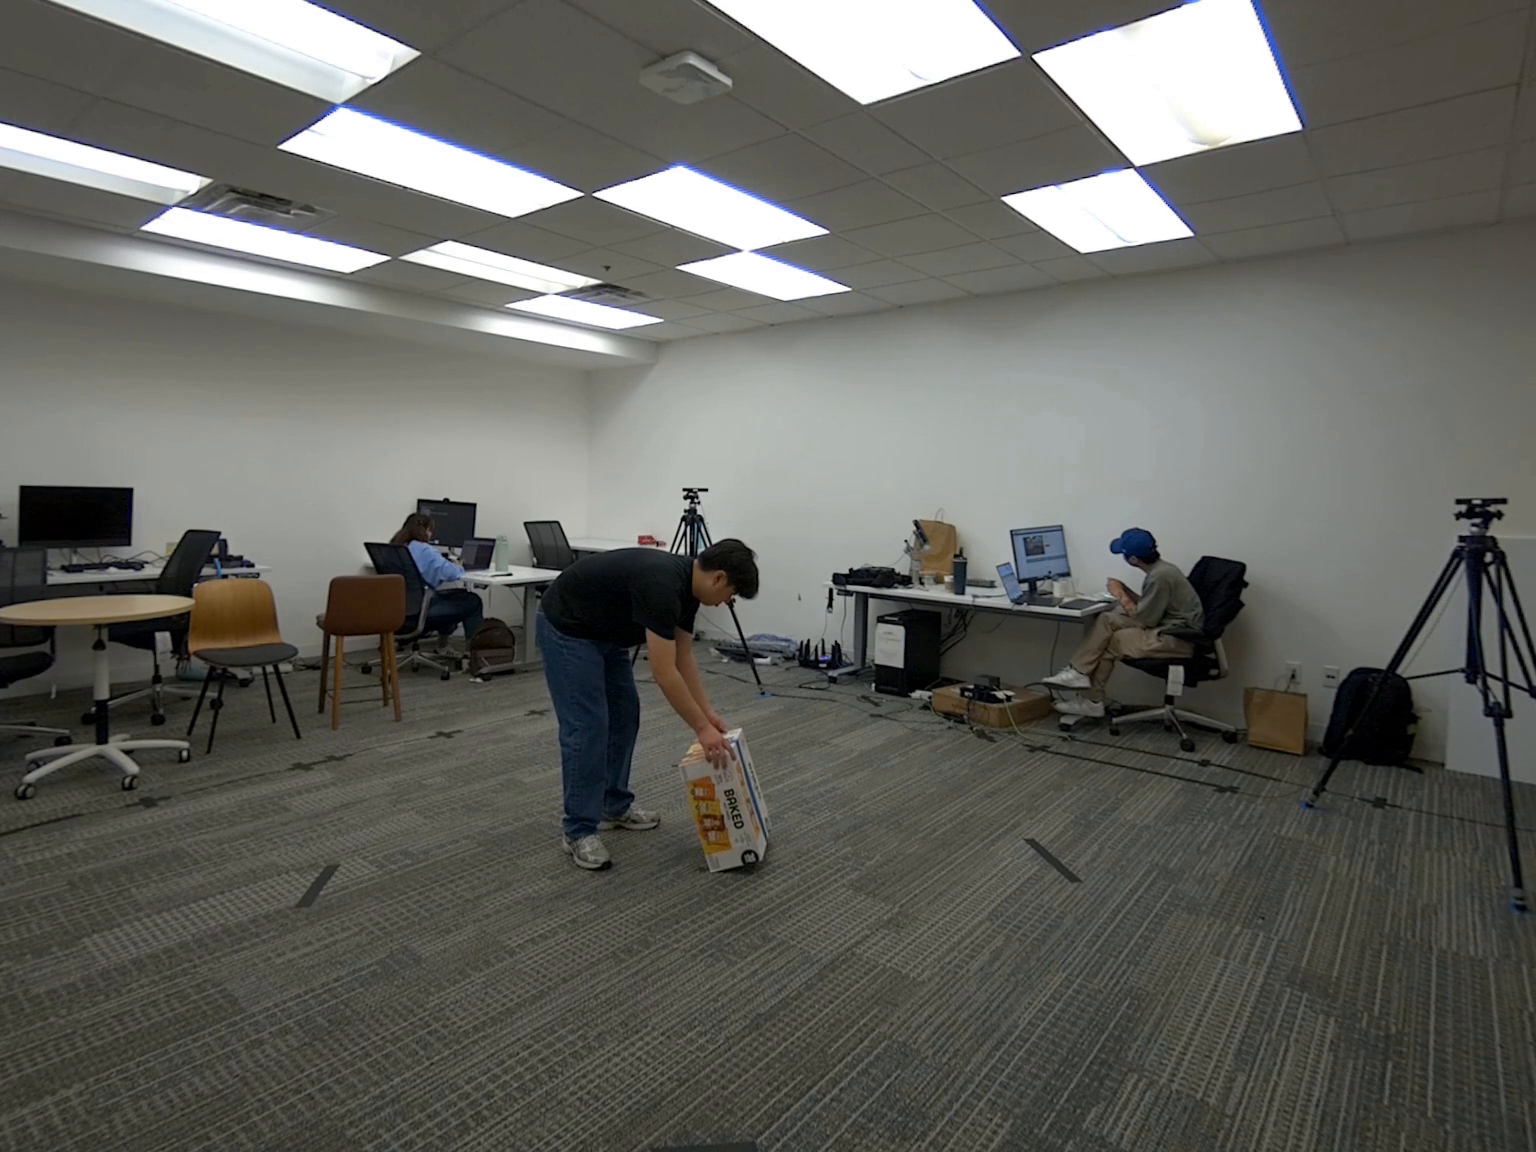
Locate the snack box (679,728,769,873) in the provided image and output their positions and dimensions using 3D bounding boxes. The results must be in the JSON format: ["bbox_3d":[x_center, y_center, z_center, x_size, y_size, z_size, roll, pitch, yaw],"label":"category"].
[{"bbox_3d":[-0.166,0.838,3.235,0.207,0.405,0.338,-16,1,8],"label":"snack box"}]
